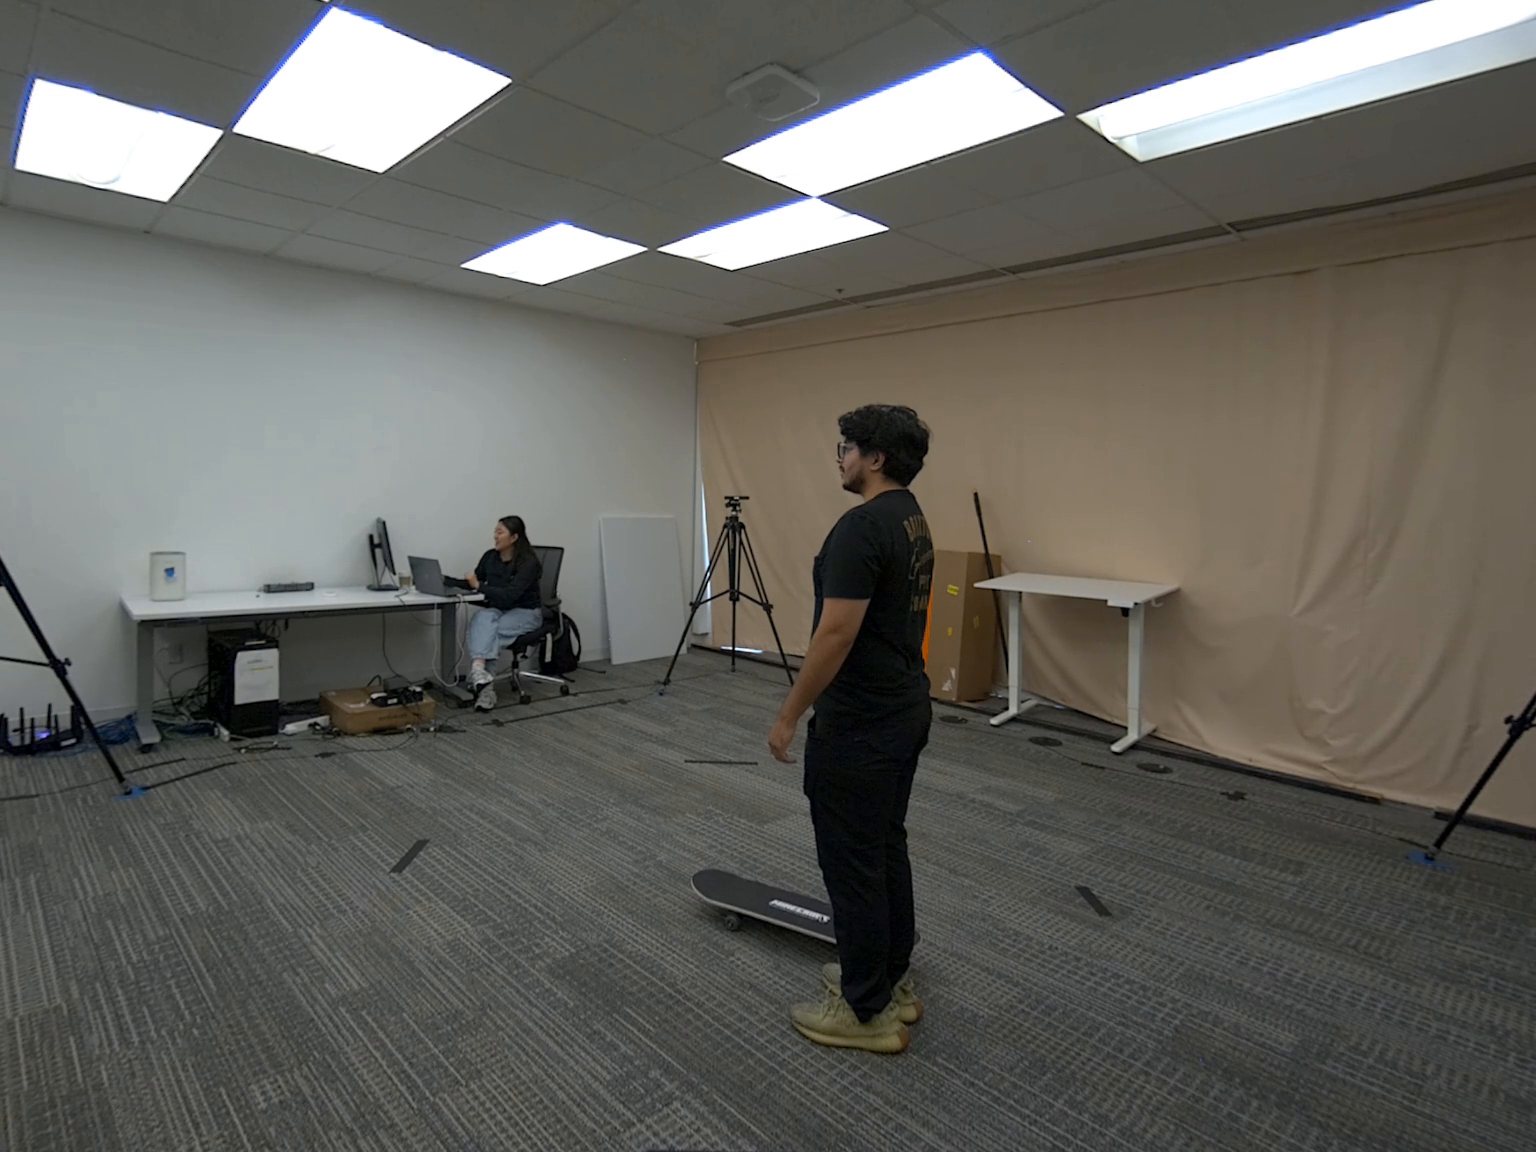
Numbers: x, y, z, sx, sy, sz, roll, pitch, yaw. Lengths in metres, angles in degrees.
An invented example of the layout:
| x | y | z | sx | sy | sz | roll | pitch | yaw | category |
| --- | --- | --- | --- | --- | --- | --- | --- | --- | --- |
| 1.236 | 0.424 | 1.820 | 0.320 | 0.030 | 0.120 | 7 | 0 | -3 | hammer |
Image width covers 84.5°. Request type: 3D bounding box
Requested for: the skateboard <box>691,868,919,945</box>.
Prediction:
| x | y | z | sx | sy | sz | roll | pitch | yaw | category |
| --- | --- | --- | --- | --- | --- | --- | --- | --- | --- |
| 0.086 | 1.093 | 2.670 | 0.803 | 0.110 | 0.190 | 5 | 7 | 31 | skateboard |
